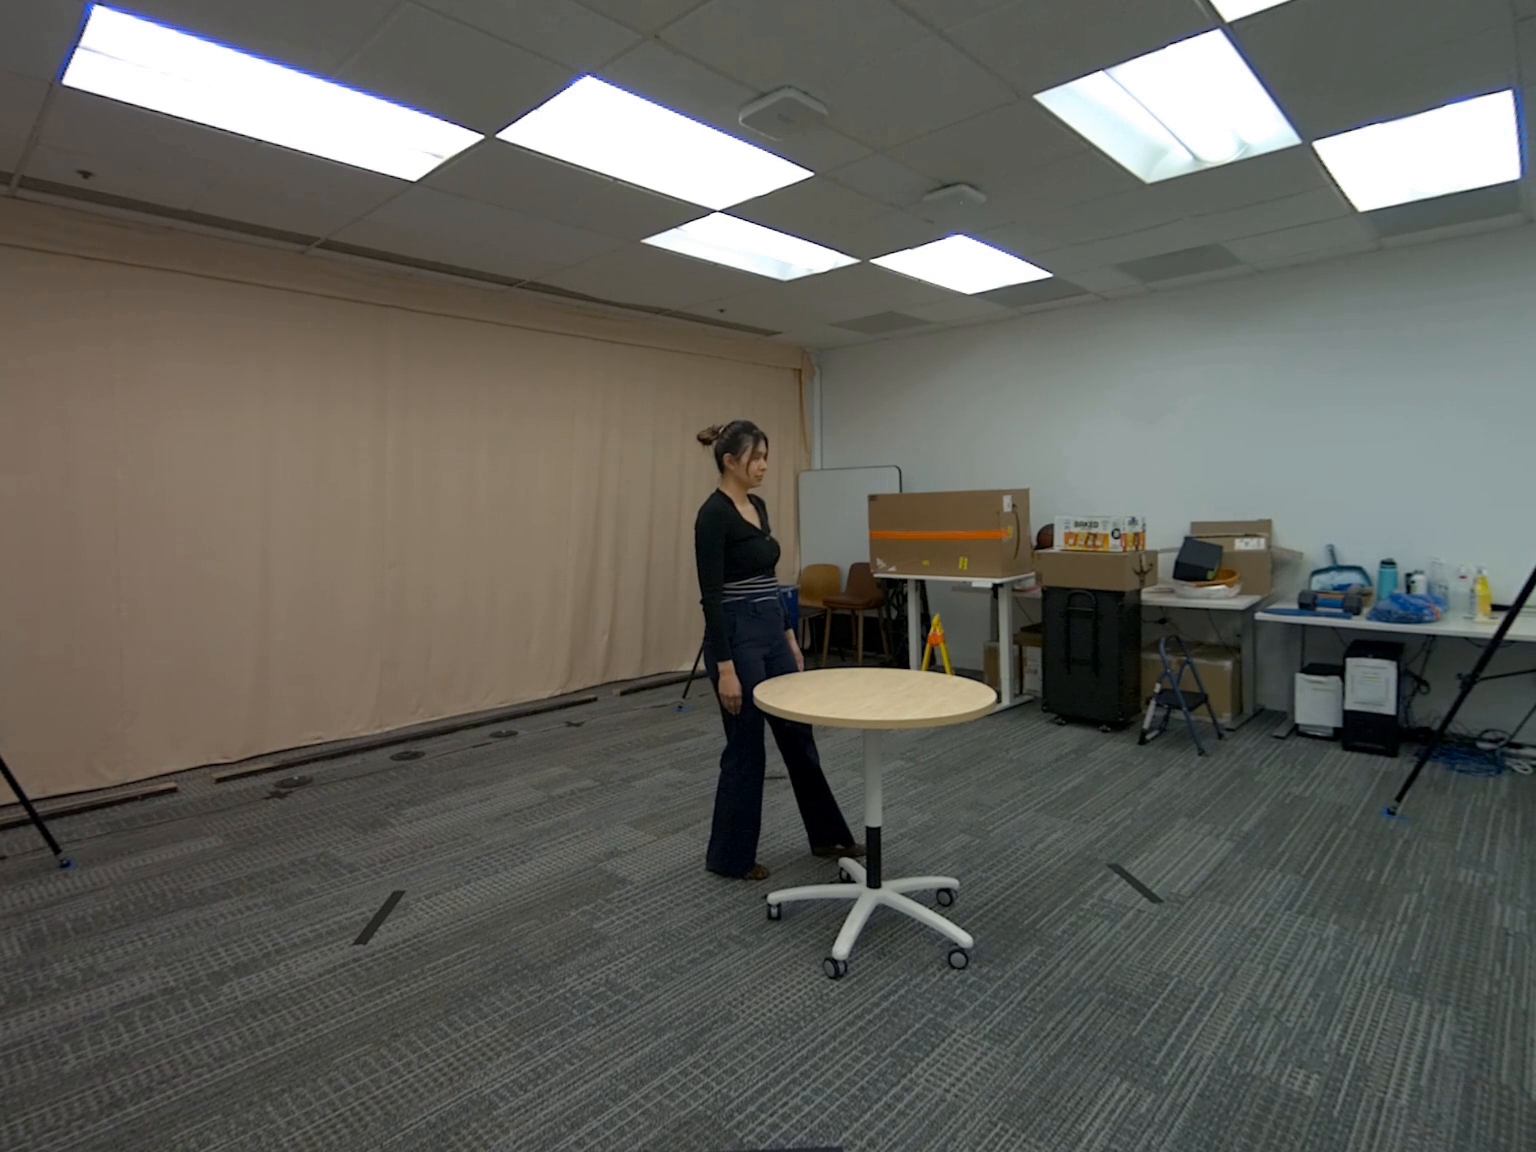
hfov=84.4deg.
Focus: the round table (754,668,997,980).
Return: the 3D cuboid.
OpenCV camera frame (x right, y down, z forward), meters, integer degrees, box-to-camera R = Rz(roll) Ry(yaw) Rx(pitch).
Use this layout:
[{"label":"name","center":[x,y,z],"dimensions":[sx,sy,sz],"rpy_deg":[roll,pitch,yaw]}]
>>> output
[{"label":"round table","center":[0.354,0.767,2.732],"dimensions":[0.763,0.792,0.767],"rpy_deg":[-1,4,-2]}]
